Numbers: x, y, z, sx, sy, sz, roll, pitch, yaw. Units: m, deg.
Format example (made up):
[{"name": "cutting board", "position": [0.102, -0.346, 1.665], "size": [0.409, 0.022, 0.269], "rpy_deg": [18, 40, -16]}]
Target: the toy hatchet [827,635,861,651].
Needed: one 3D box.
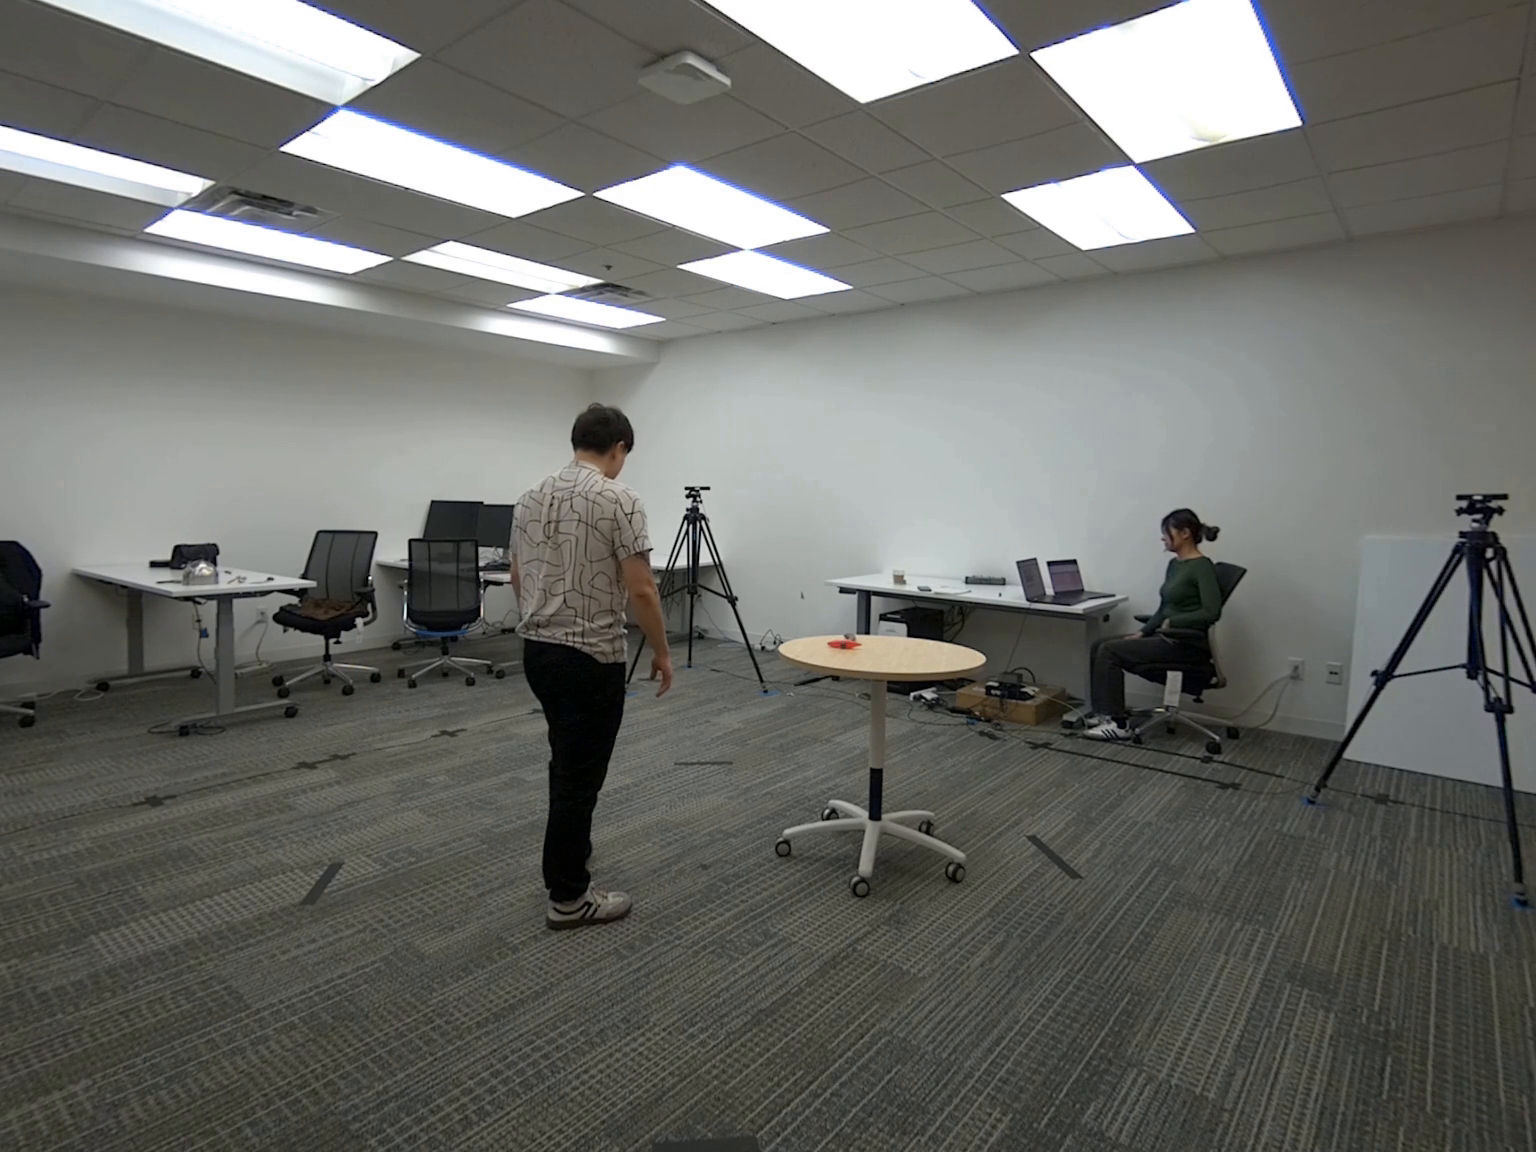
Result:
[{"name": "toy hatchet", "position": [0.287, 0.255, 3.390], "size": [0.131, 0.029, 0.271], "rpy_deg": [-3, 4, -1]}]
